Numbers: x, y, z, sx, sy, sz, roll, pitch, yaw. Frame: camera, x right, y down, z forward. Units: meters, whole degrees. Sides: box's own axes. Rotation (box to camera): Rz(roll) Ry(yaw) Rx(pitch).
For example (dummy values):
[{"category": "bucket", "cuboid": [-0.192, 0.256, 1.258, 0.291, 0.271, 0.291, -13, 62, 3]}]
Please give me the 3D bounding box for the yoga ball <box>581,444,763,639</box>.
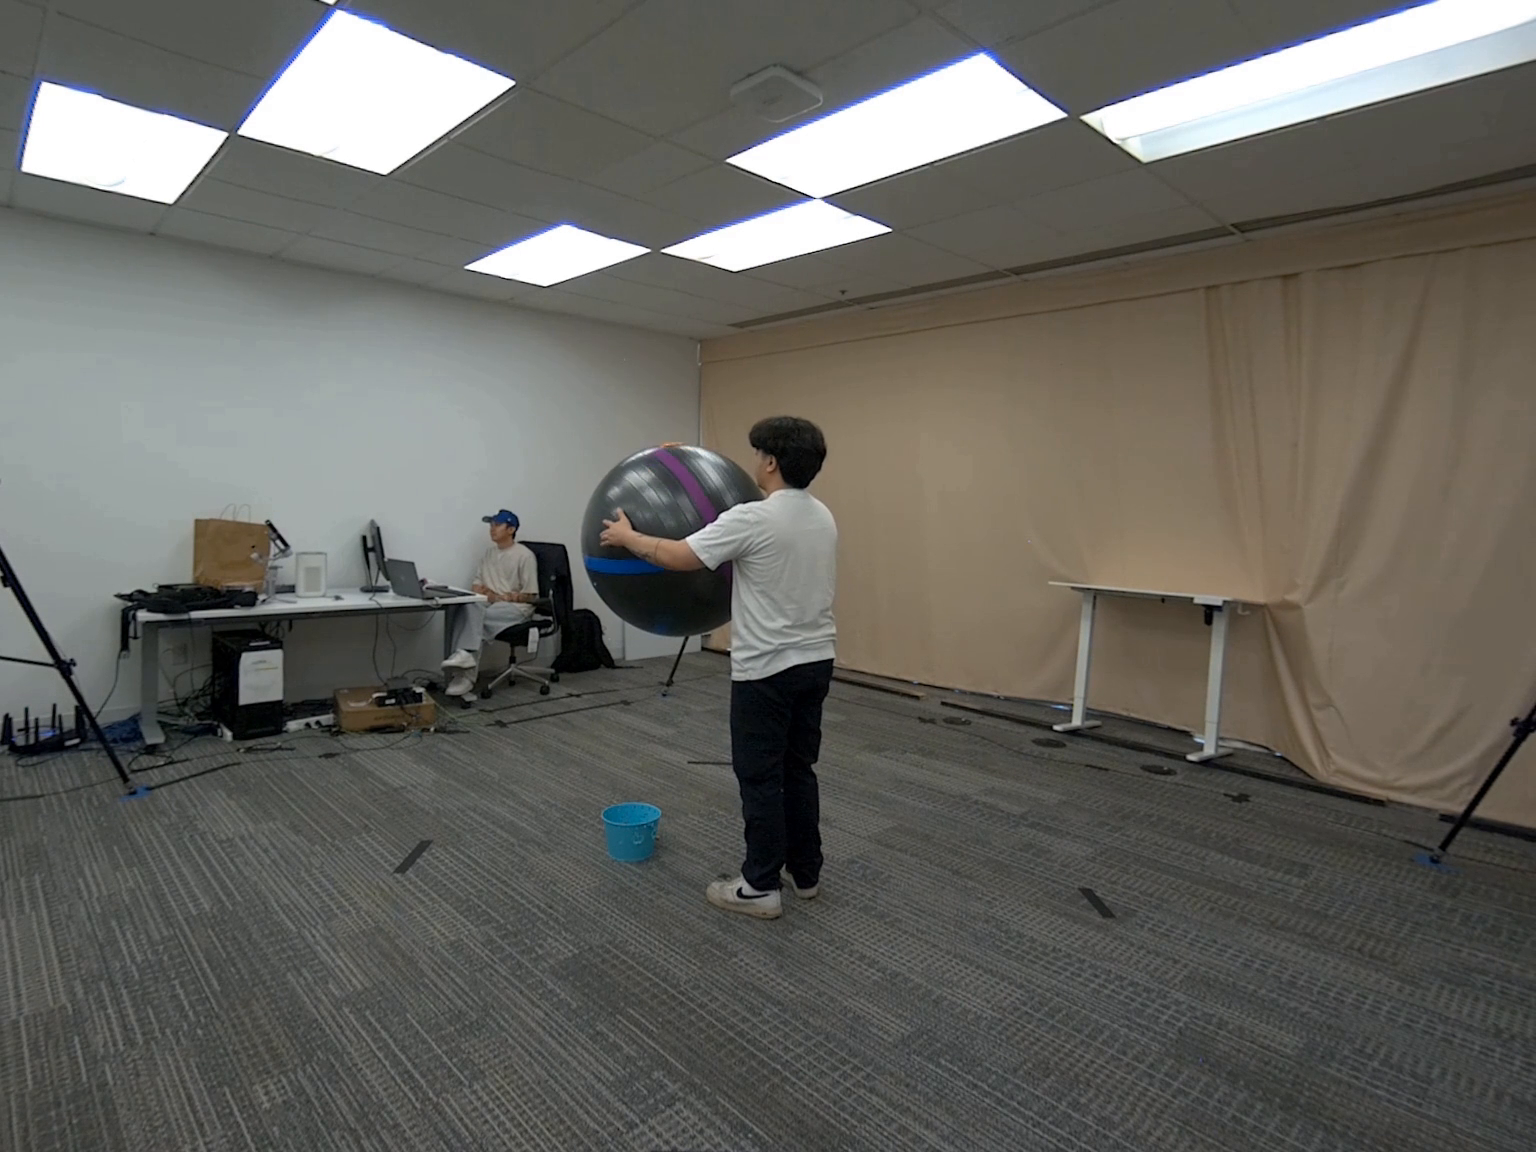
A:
[{"category": "yoga ball", "cuboid": [-0.363, -0.134, 3.339, 0.757, 0.756, 0.760, 1, 4, -1]}]
